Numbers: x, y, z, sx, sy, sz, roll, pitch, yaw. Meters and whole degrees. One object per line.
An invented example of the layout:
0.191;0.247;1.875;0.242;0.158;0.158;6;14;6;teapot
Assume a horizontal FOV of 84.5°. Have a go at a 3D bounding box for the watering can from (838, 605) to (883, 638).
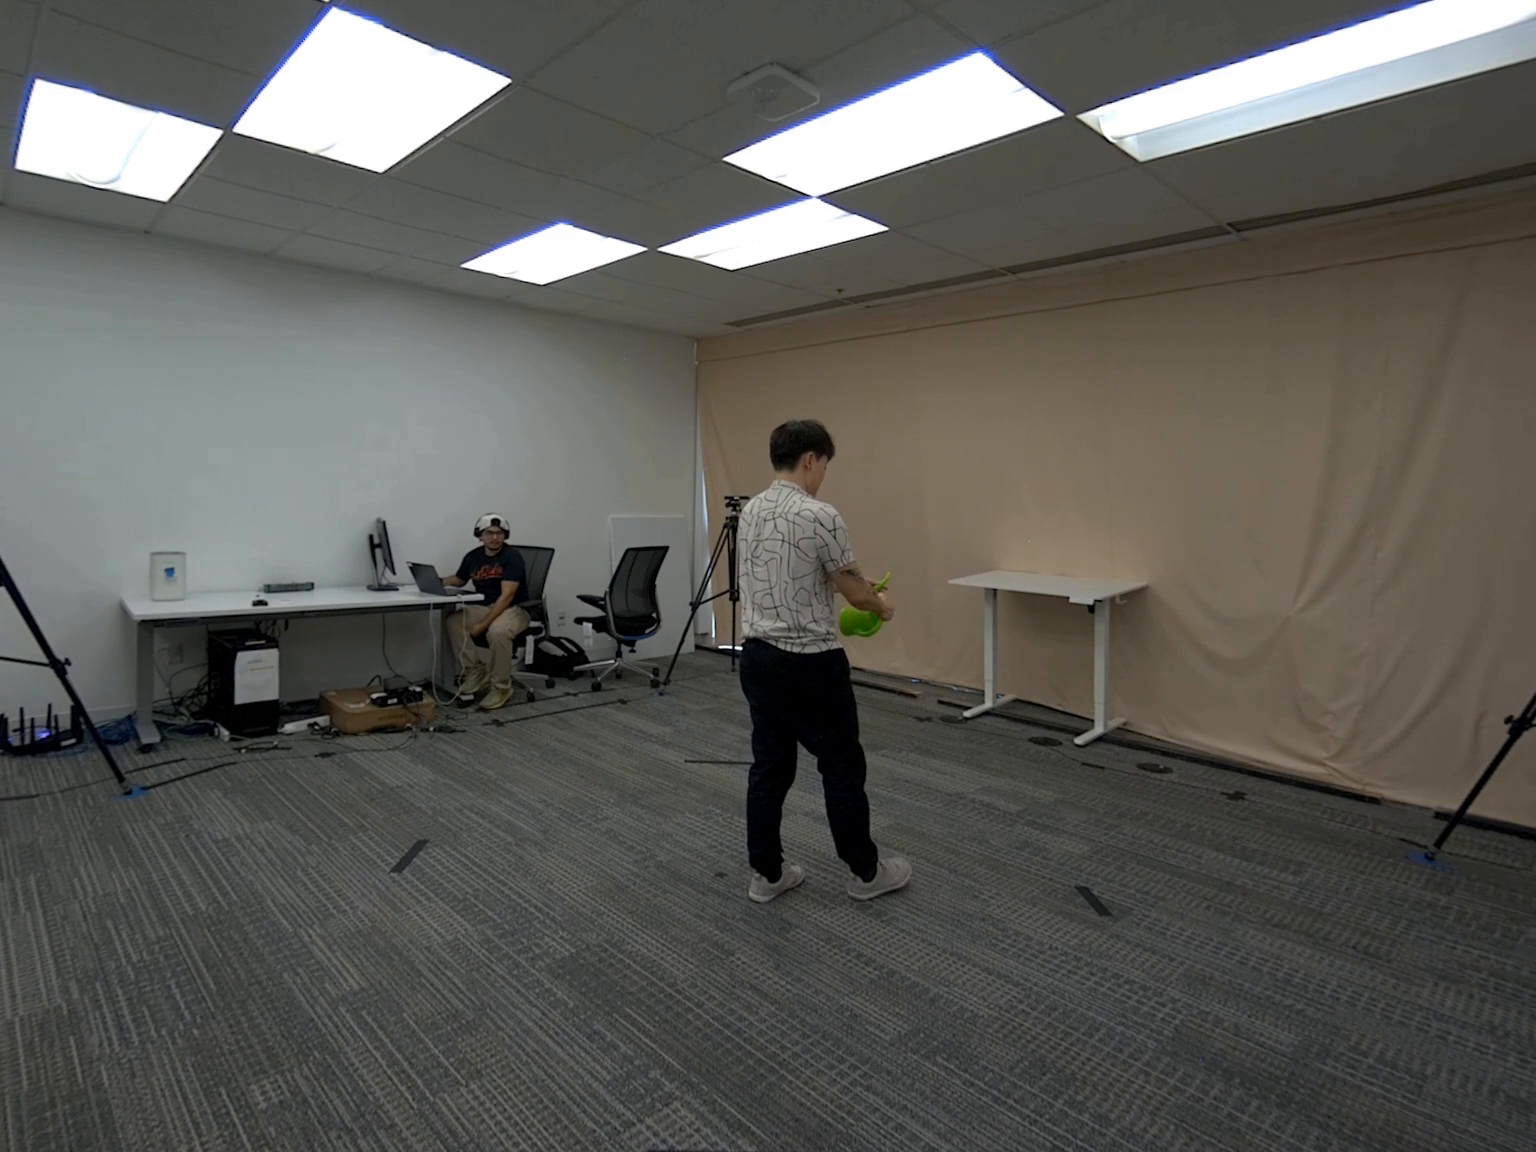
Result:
0.370;0.125;3.176;0.179;0.096;0.280;-16;30;39;watering can
